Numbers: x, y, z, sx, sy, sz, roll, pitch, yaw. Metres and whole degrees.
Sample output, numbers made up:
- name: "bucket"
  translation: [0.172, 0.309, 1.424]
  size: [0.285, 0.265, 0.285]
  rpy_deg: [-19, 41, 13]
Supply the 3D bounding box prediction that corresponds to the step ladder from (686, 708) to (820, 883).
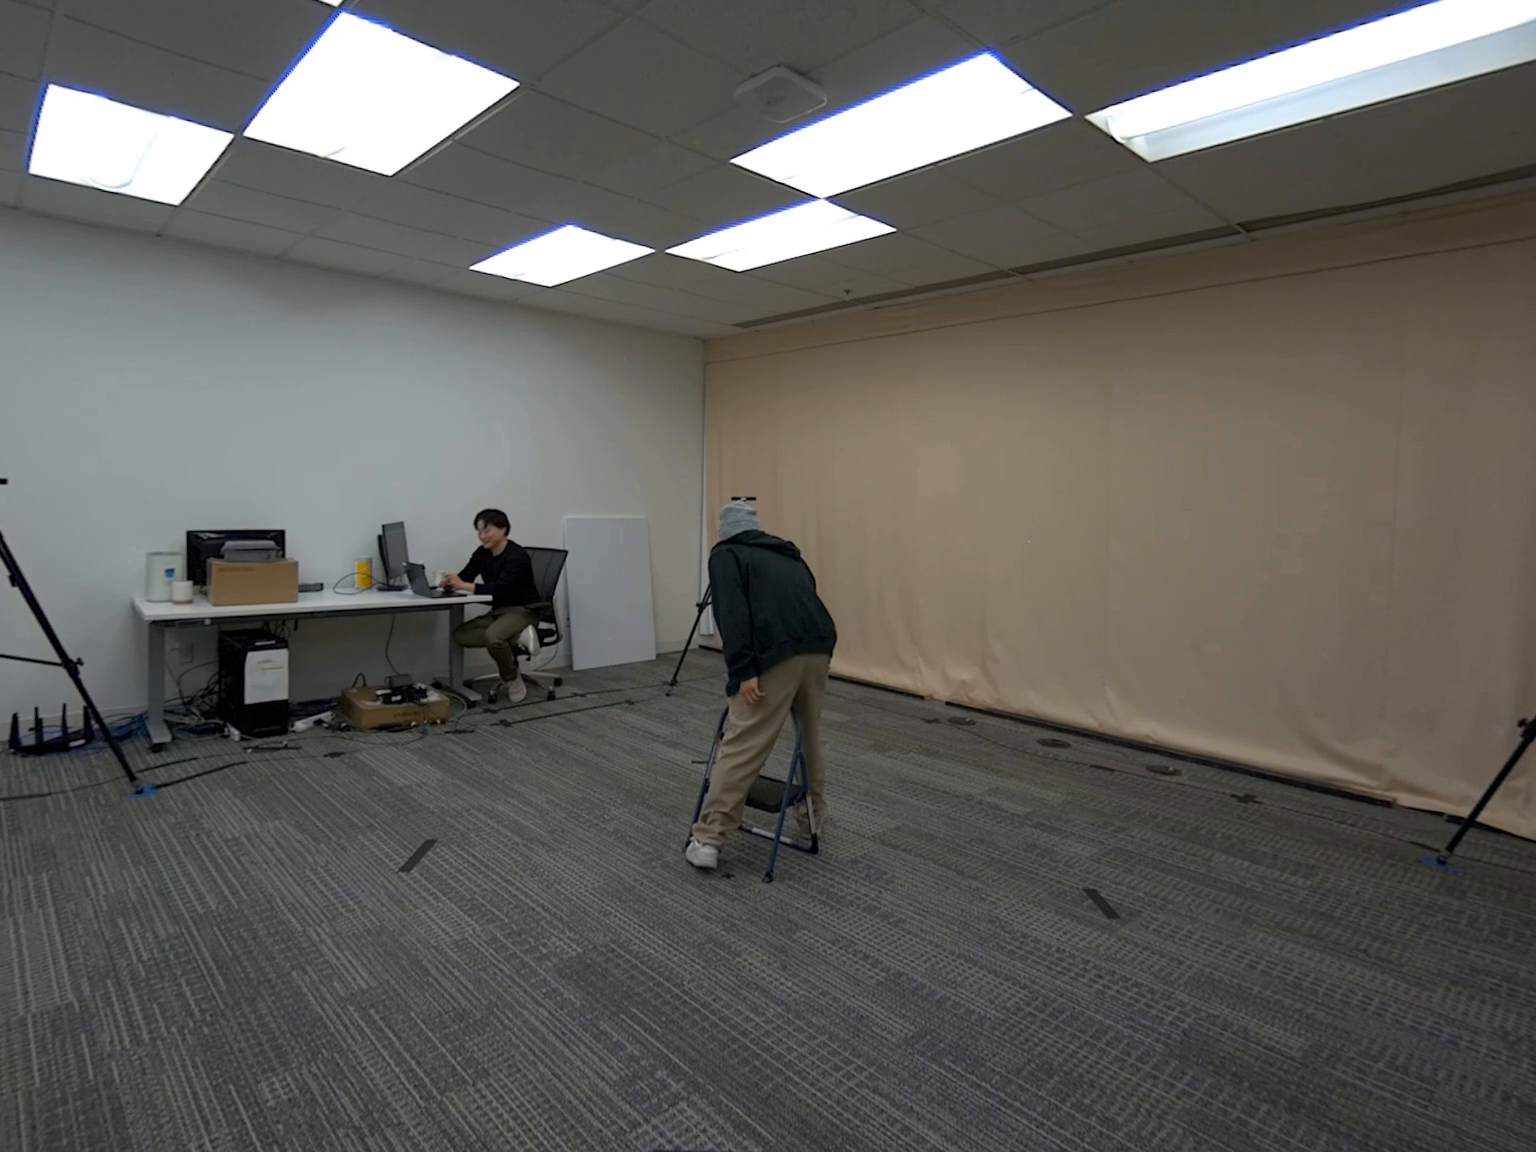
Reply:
- name: "step ladder"
  translation: [-0.061, 0.791, 3.306]
  size: [0.441, 0.605, 0.341]
  rpy_deg: [4, 4, 37]
